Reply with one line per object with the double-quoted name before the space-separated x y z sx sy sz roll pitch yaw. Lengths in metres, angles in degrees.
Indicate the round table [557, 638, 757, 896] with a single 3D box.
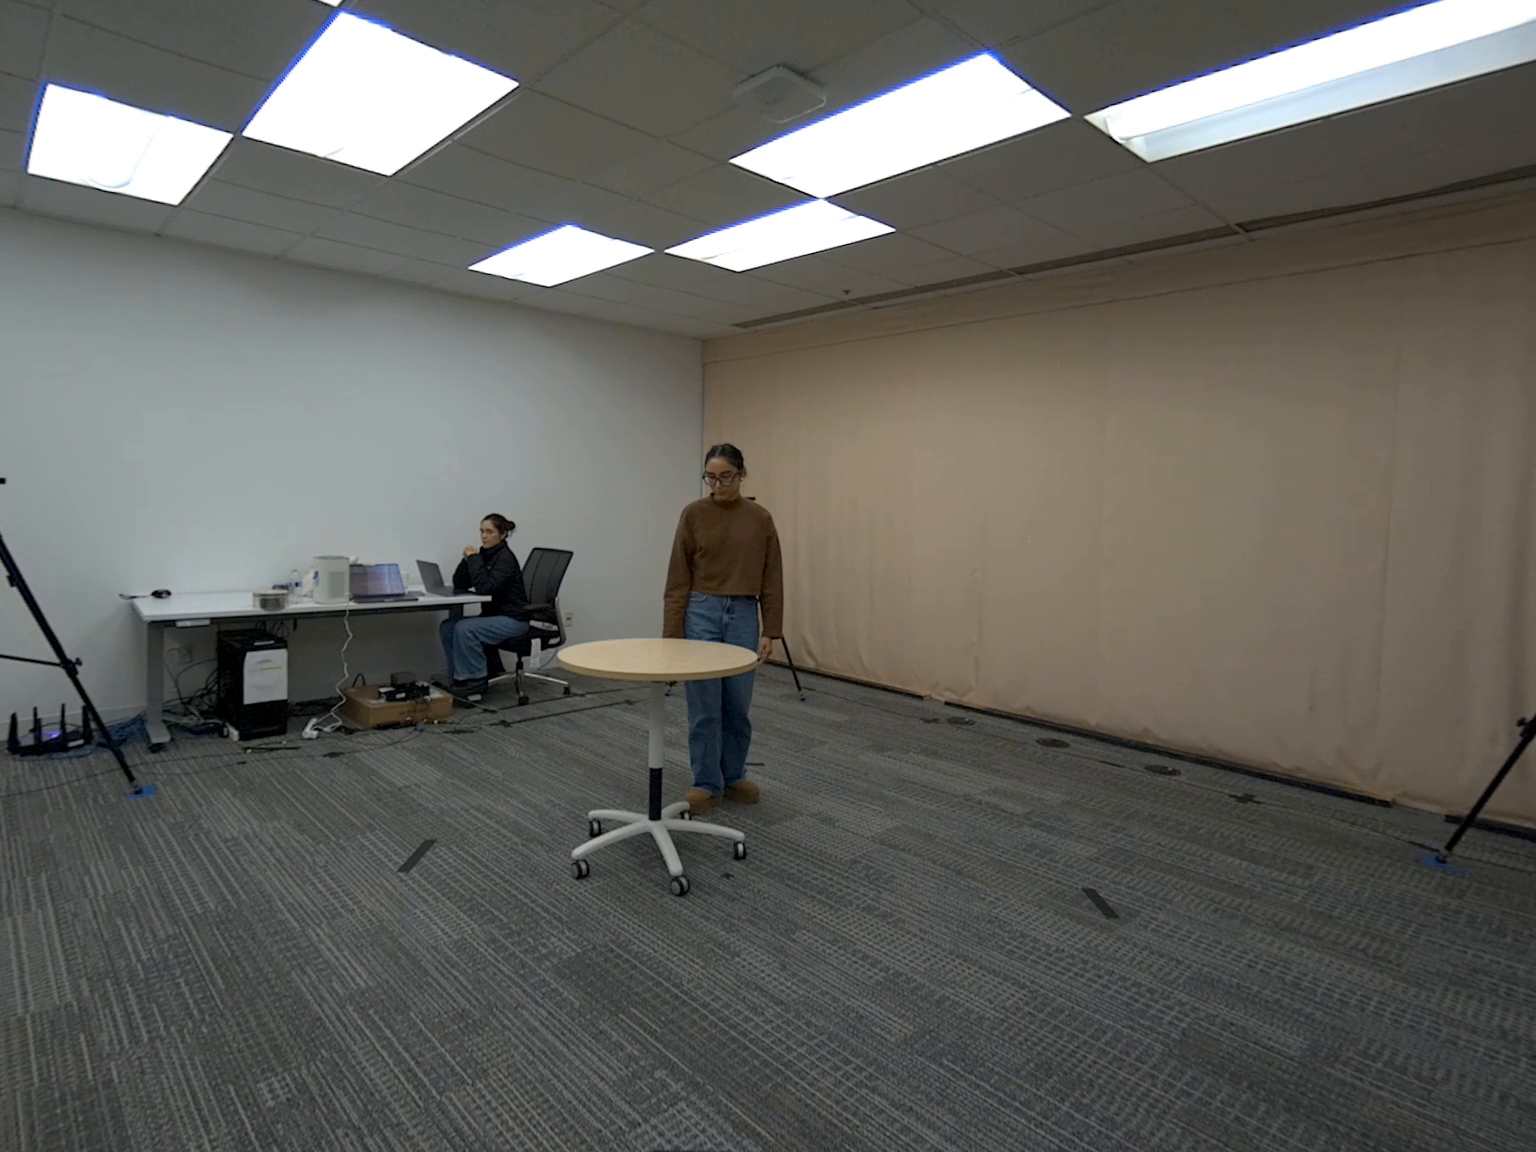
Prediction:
"round table" -0.448 0.698 3.257 0.763 0.792 0.766 1 3 -1
